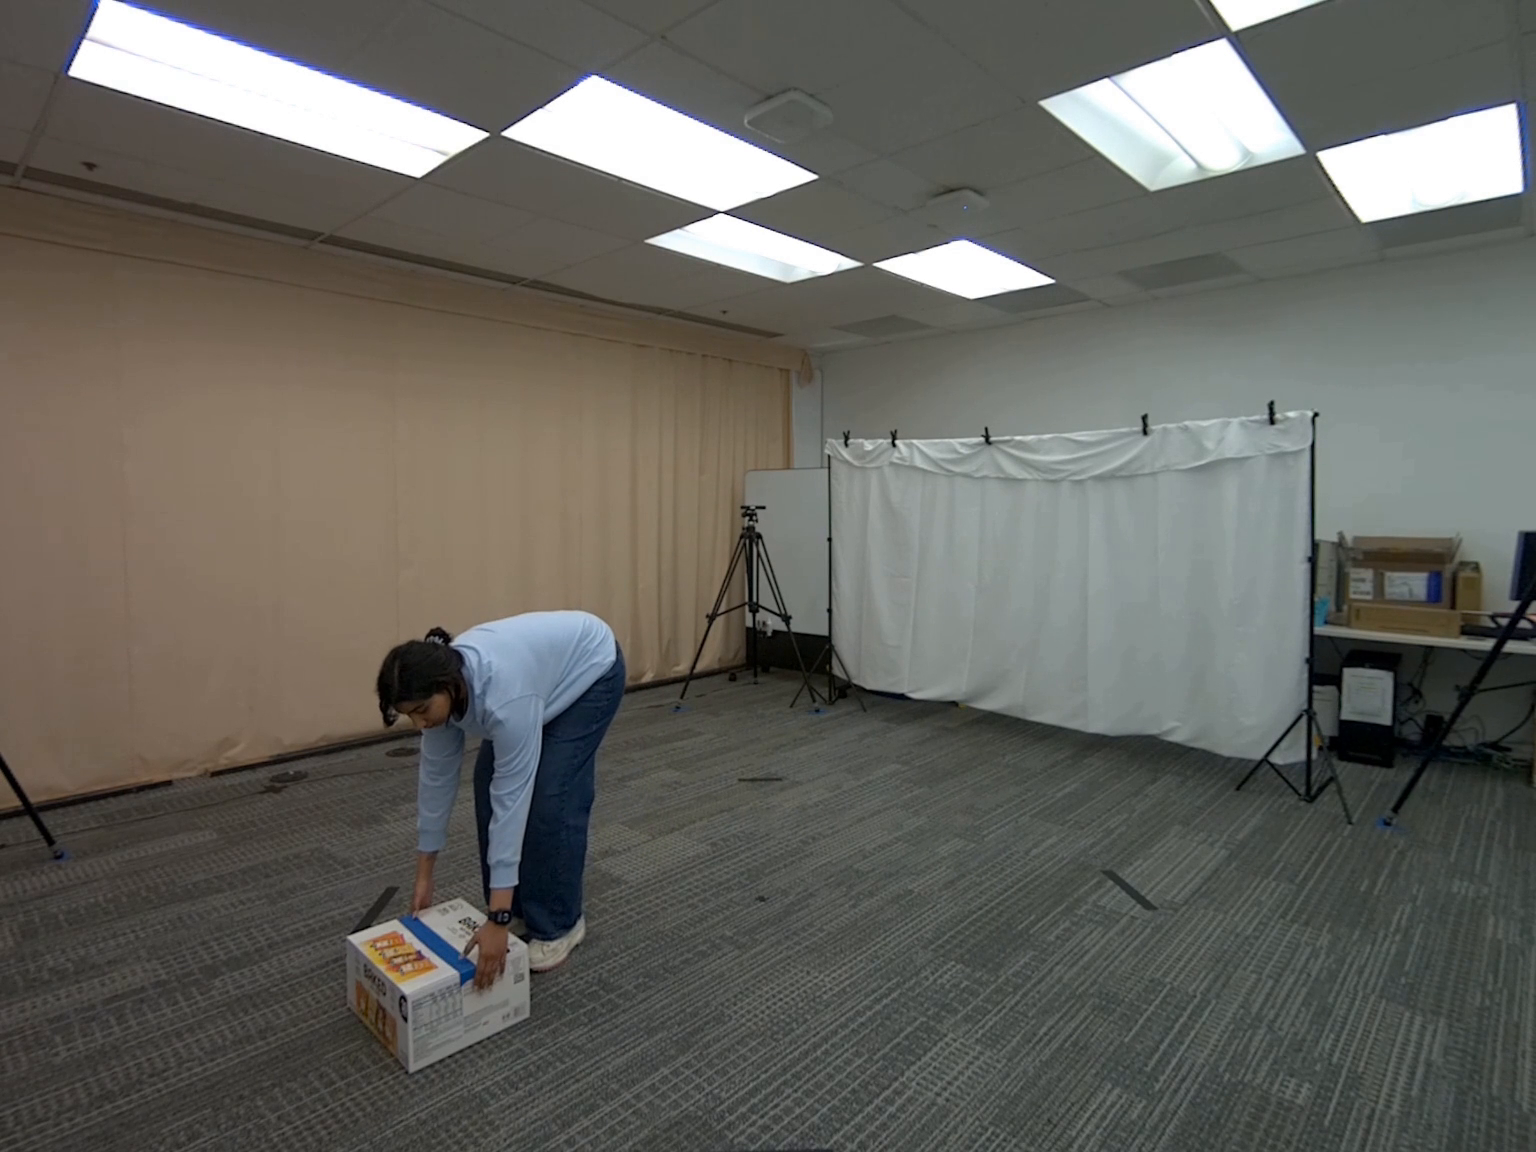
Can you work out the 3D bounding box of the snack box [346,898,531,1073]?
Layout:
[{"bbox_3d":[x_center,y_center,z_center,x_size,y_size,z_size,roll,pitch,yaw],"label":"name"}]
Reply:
[{"bbox_3d":[-0.907,1.099,2.318,0.418,0.205,0.330,3,6,44],"label":"snack box"}]
